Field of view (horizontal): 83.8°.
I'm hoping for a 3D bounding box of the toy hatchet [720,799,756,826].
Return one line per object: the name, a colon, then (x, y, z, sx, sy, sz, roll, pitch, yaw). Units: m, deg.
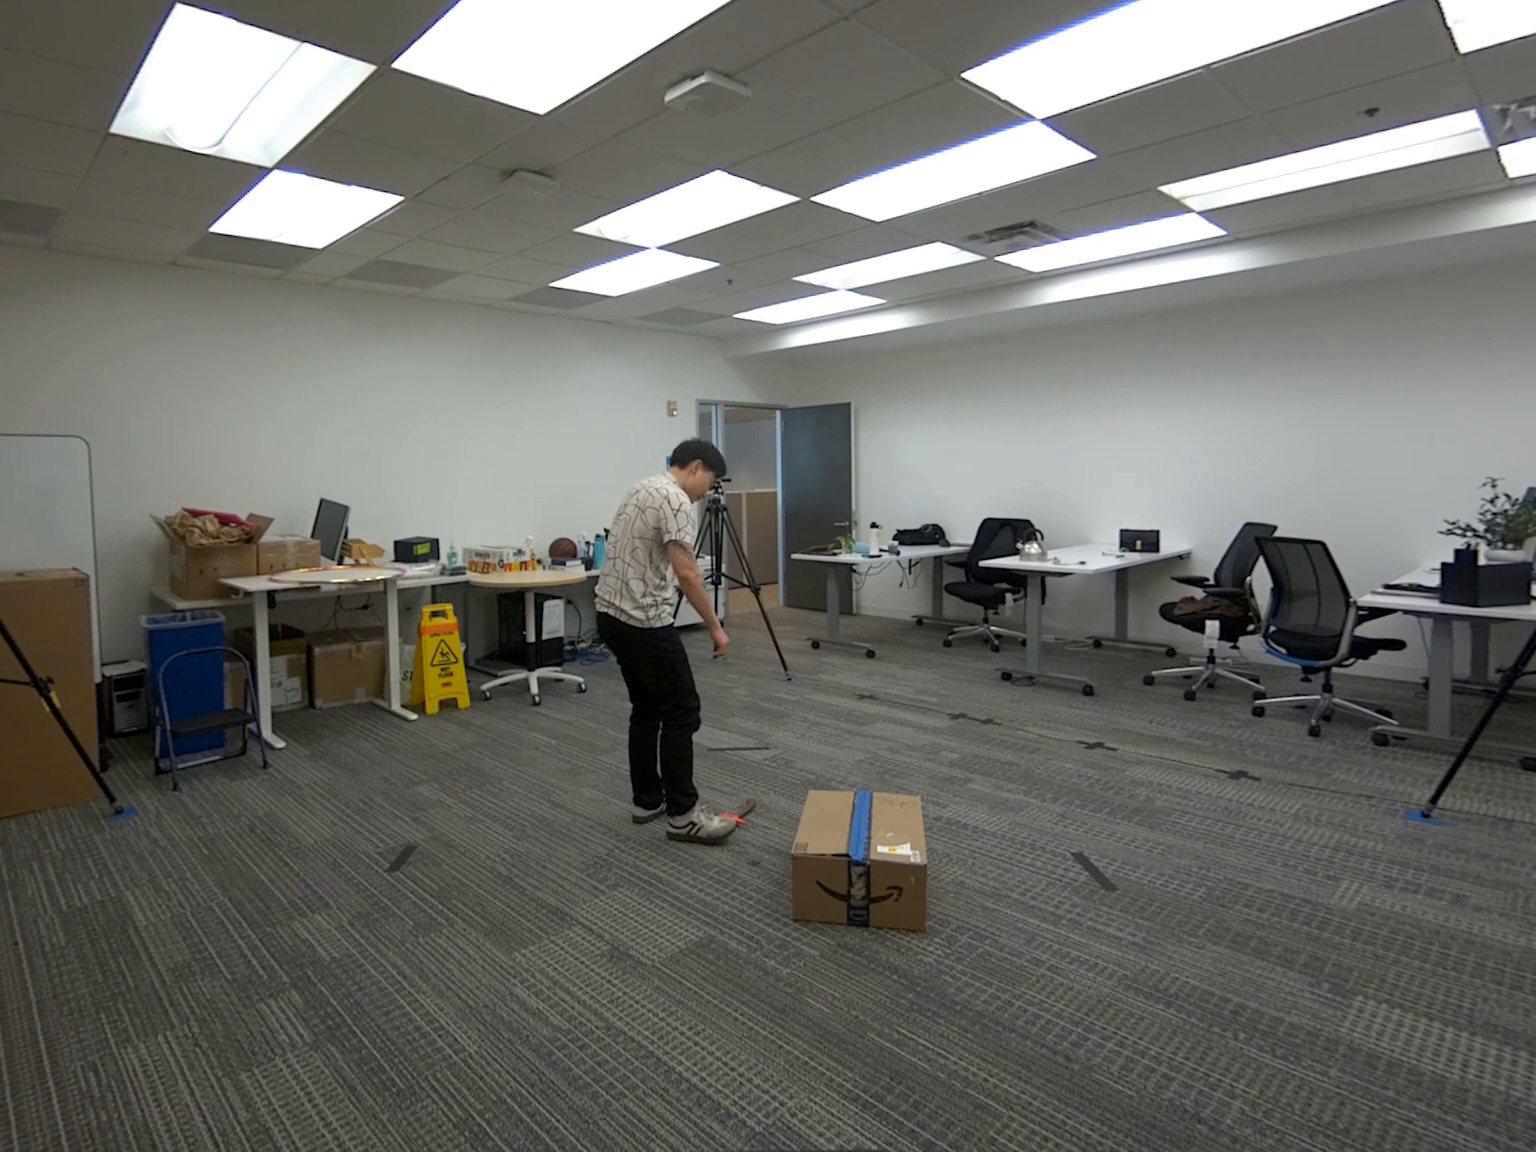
toy hatchet: (-0.135, 0.980, 3.565, 0.132, 0.029, 0.268, -2, 5, 10)
